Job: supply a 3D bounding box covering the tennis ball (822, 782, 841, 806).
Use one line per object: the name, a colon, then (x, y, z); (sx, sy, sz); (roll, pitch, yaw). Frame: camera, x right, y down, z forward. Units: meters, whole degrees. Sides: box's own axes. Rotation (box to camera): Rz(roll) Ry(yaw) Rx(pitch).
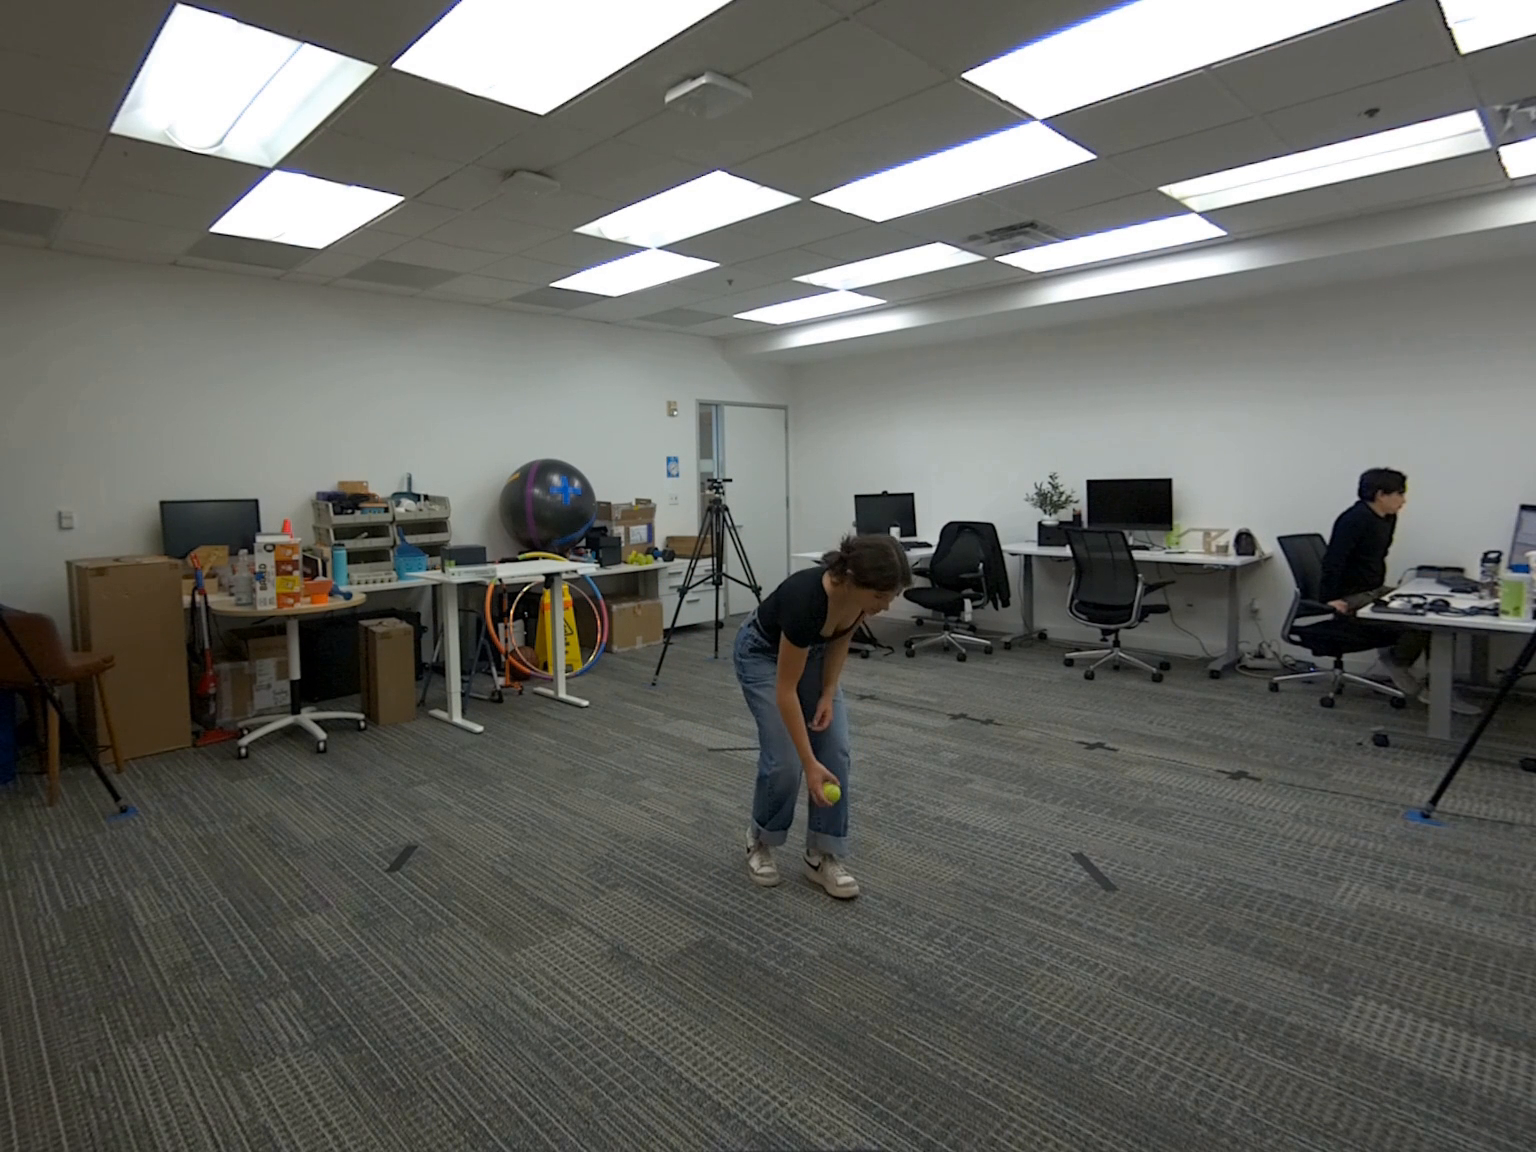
tennis ball: (0.179, 0.714, 2.696); (0.066, 0.066, 0.067); (-1, 5, -2)
